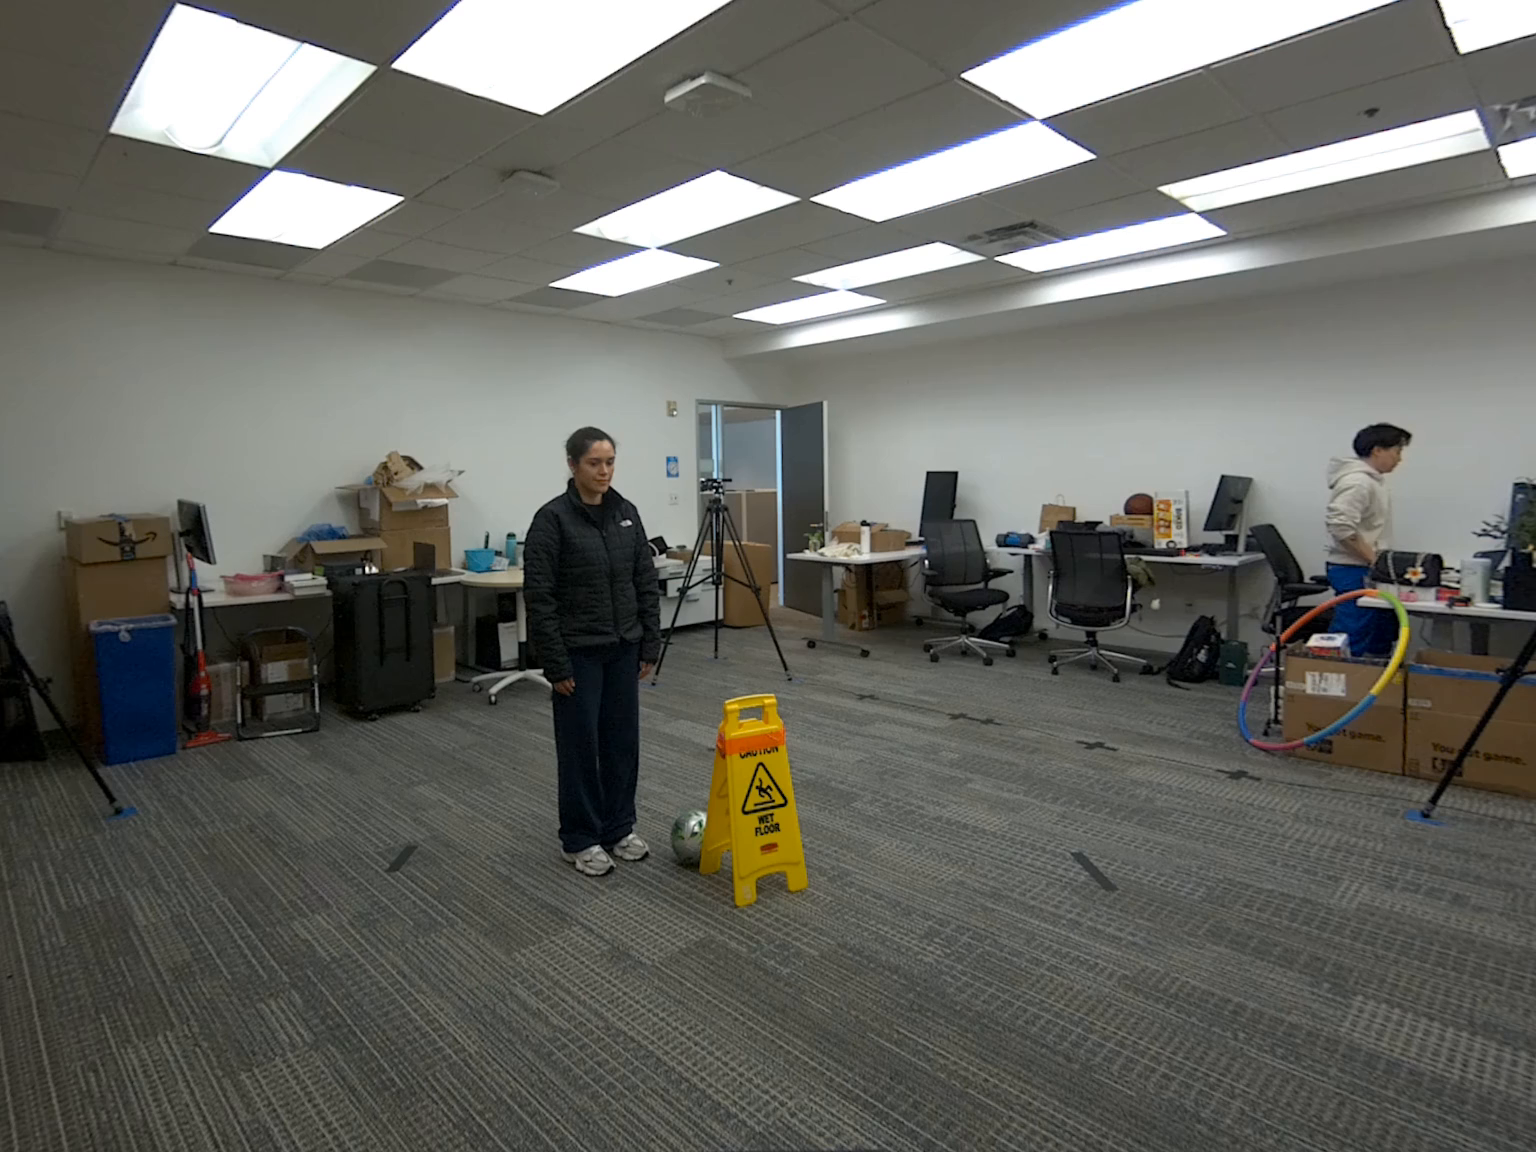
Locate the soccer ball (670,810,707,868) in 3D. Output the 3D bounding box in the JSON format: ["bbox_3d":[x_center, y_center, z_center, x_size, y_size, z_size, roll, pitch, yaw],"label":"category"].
[{"bbox_3d":[-0.269,0.946,3.119,0.187,0.187,0.188,-1,5,-2],"label":"soccer ball"}]
